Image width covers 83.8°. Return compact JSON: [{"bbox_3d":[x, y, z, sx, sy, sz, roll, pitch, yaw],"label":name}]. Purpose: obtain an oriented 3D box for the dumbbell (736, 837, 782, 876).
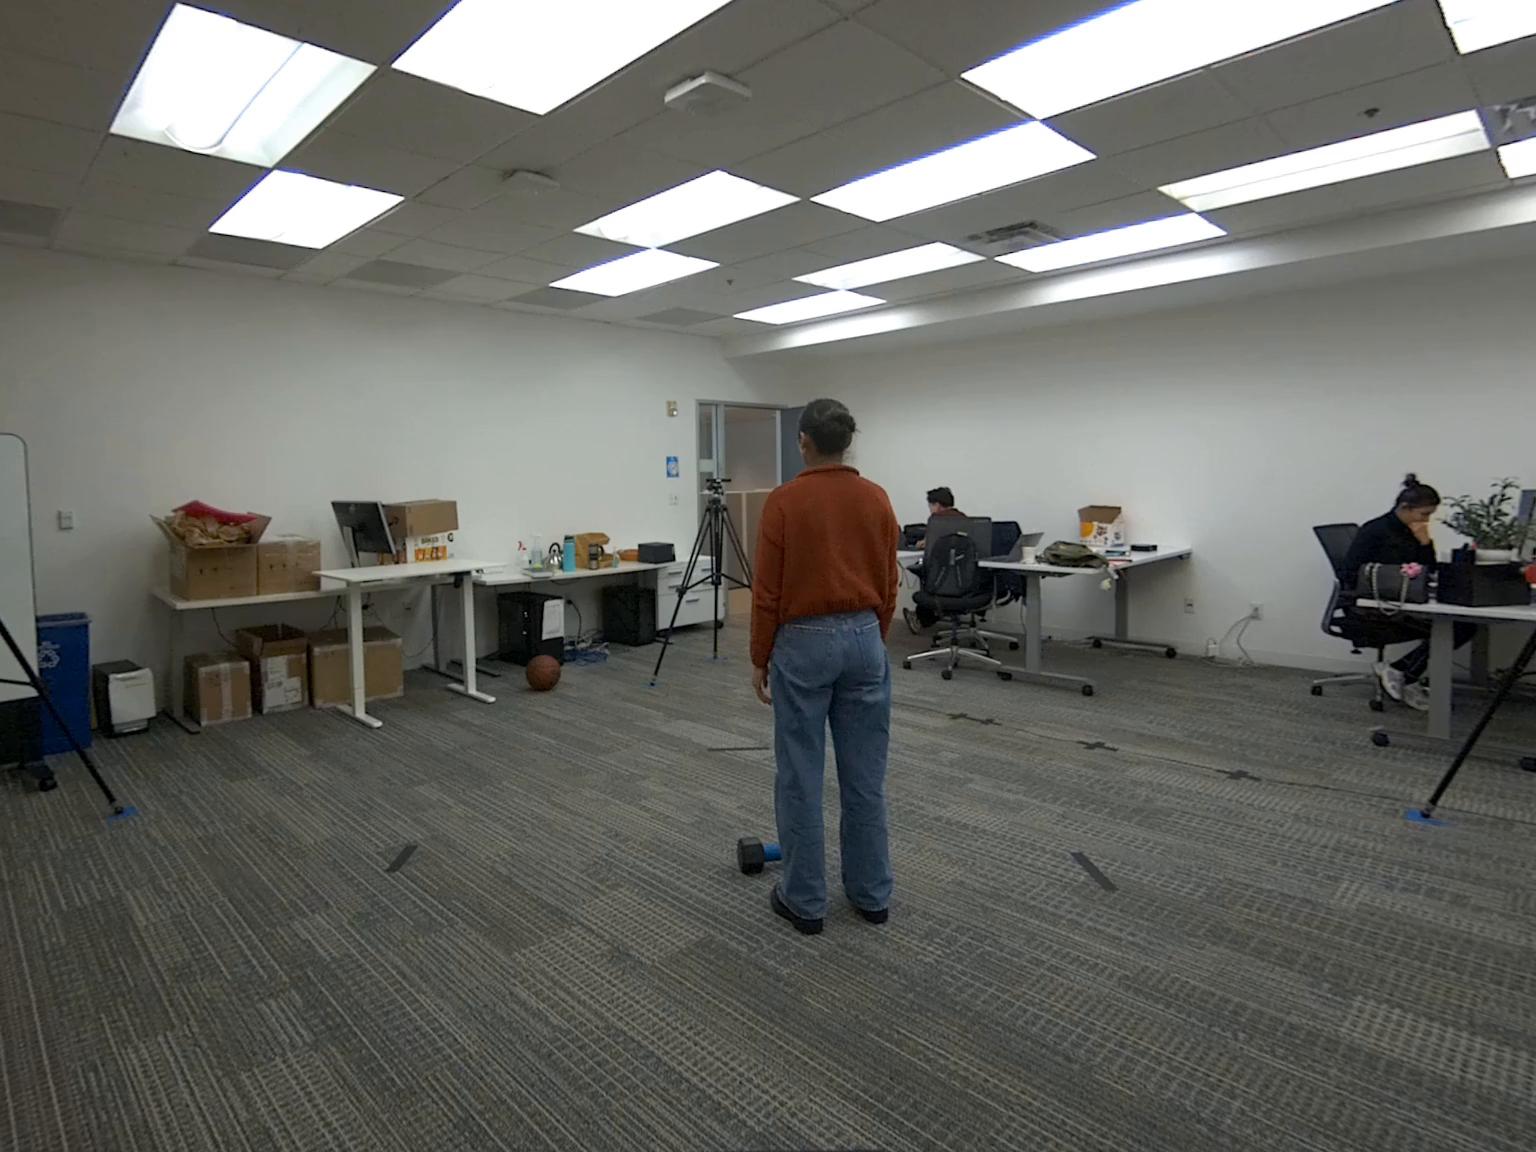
[{"bbox_3d":[0.042,0.990,3.071,0.290,0.120,0.112,-2,35,-12],"label":"dumbbell"}]
